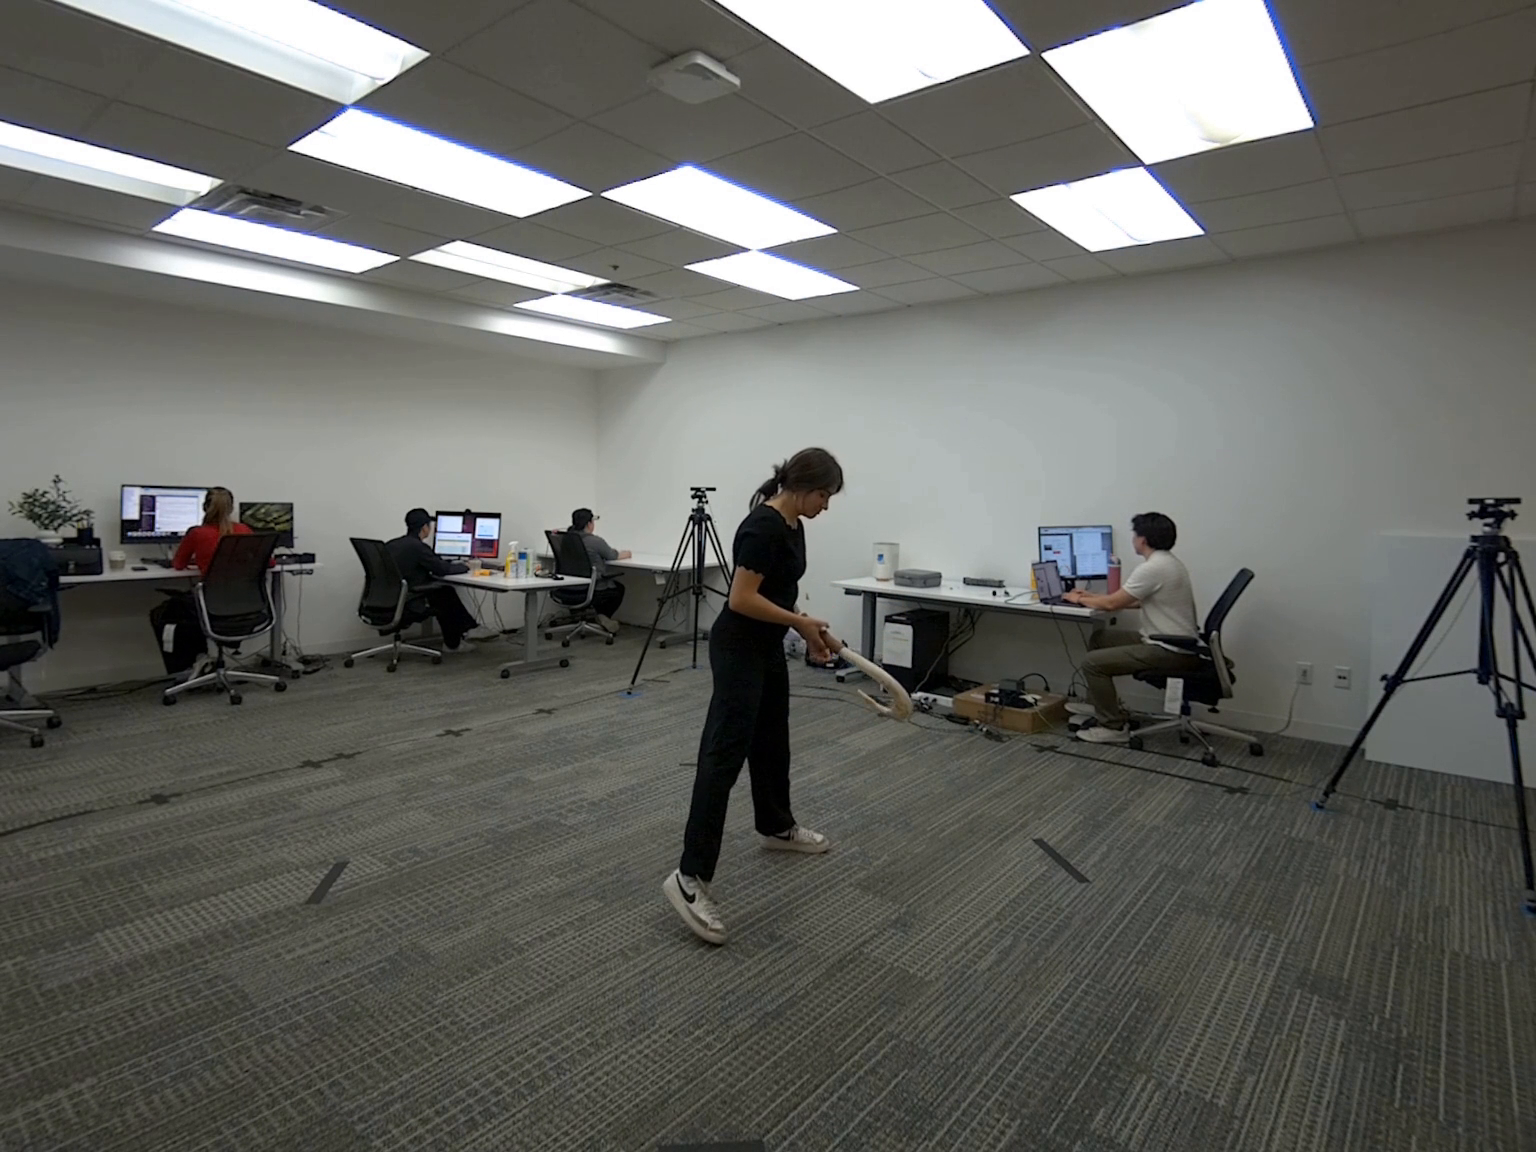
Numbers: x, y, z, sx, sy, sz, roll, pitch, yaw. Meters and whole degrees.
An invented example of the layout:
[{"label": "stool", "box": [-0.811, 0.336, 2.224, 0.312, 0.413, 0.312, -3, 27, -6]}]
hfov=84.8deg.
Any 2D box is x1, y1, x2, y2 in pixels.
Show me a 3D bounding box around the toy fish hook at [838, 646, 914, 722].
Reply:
[{"label": "toy fish hook", "box": [0.276, 0.317, 2.924, 0.048, 0.220, 0.523, -33, 63, -33]}]
